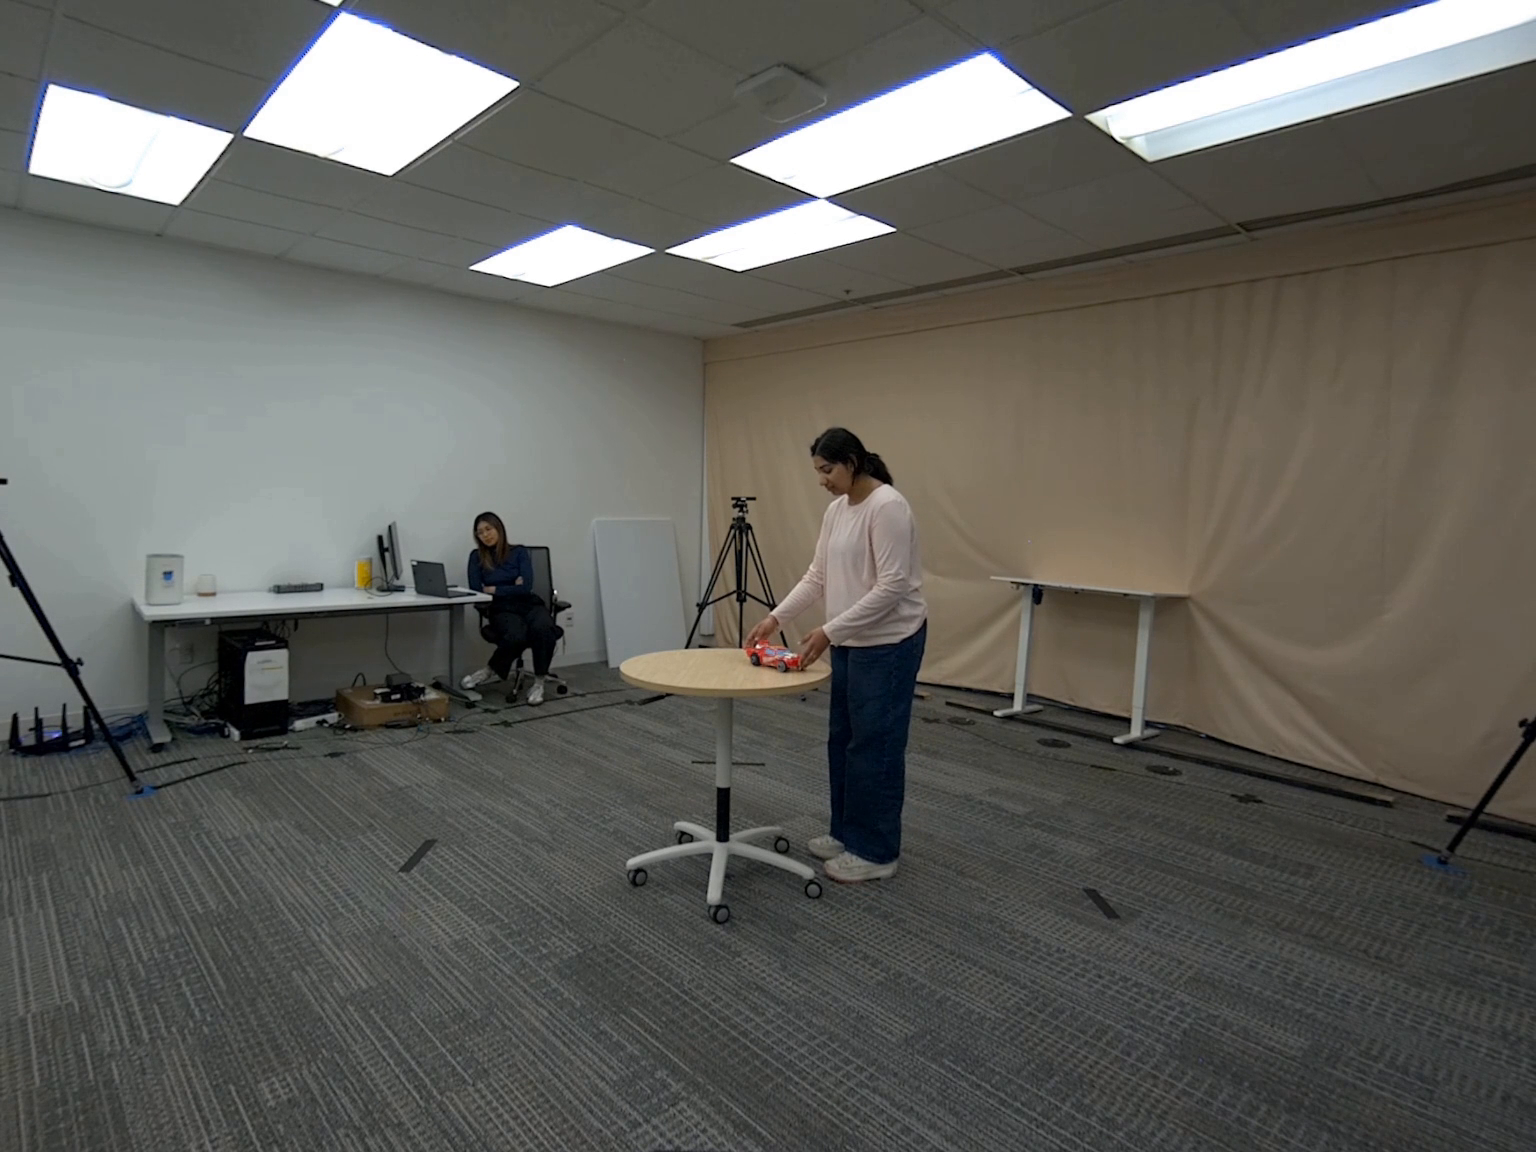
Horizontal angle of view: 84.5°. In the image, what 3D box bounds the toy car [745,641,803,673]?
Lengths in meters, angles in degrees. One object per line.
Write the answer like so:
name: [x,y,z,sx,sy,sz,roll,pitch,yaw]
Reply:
toy car: [0.021,0.297,3.059,0.127,0.082,0.262,-1,16,-39]
